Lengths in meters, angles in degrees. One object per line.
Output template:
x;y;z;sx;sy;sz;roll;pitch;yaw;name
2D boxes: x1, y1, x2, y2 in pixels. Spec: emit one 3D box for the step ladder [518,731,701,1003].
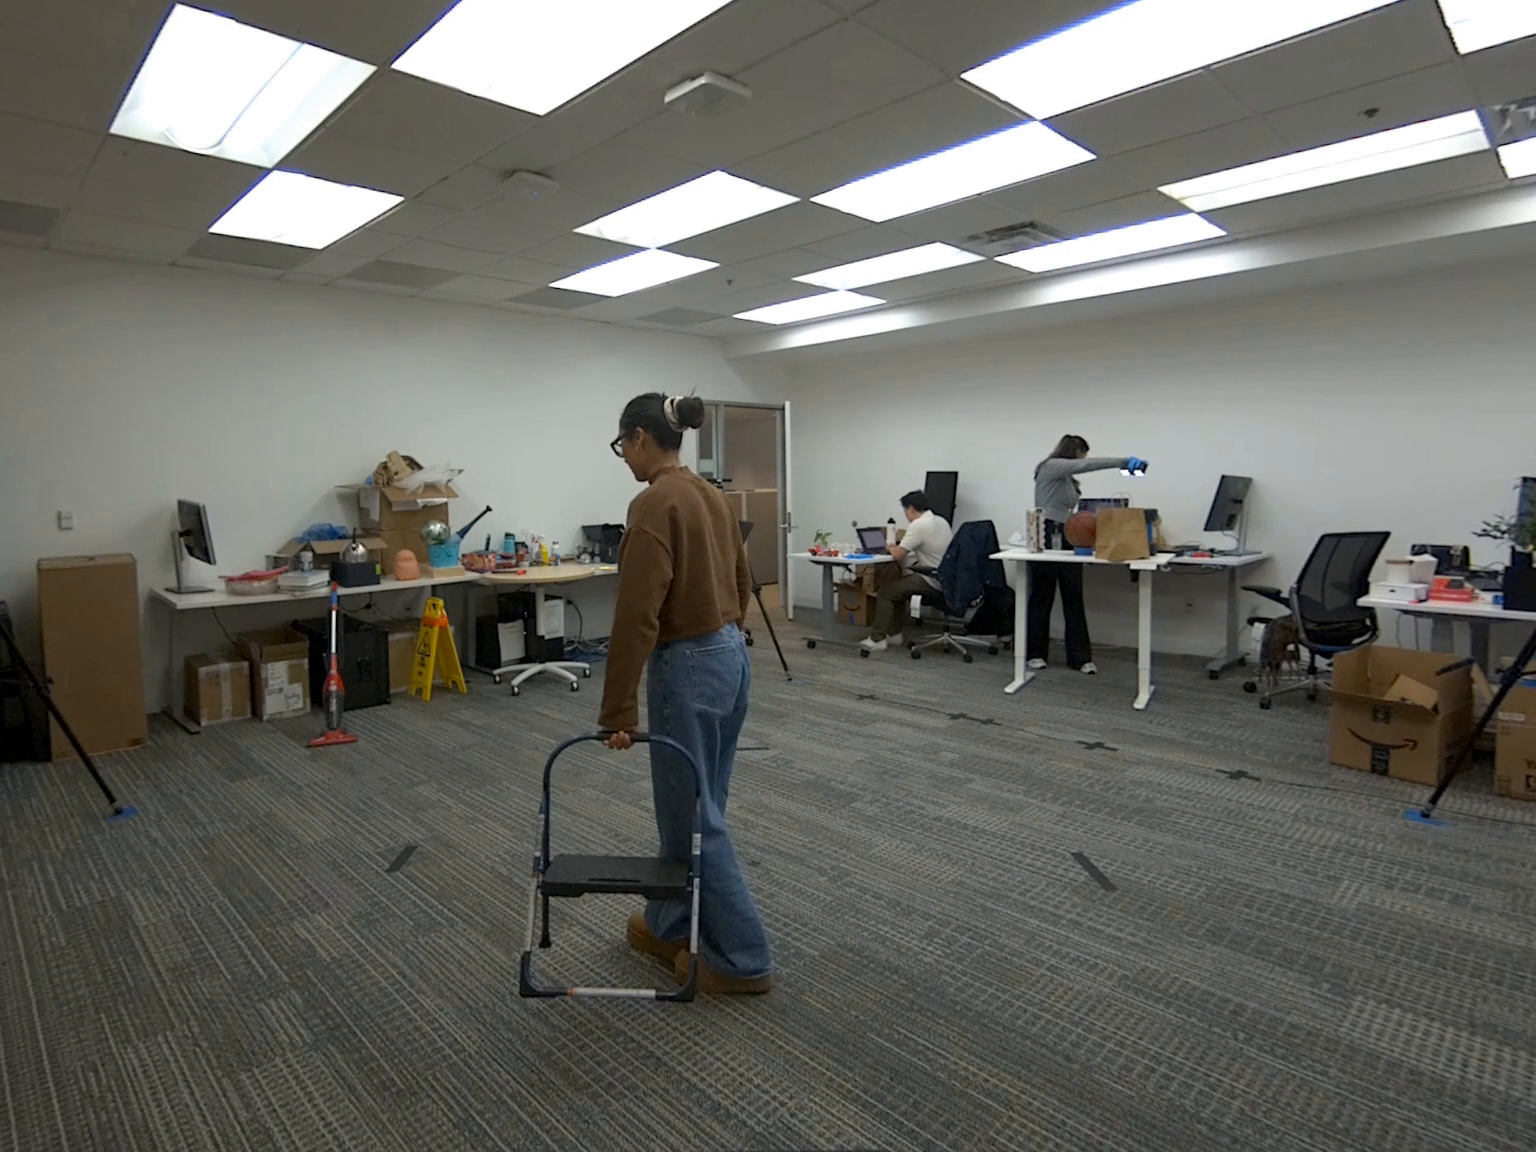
-0.385;0.705;2.185;0.429;0.609;0.349;1;-5;-4;step ladder
